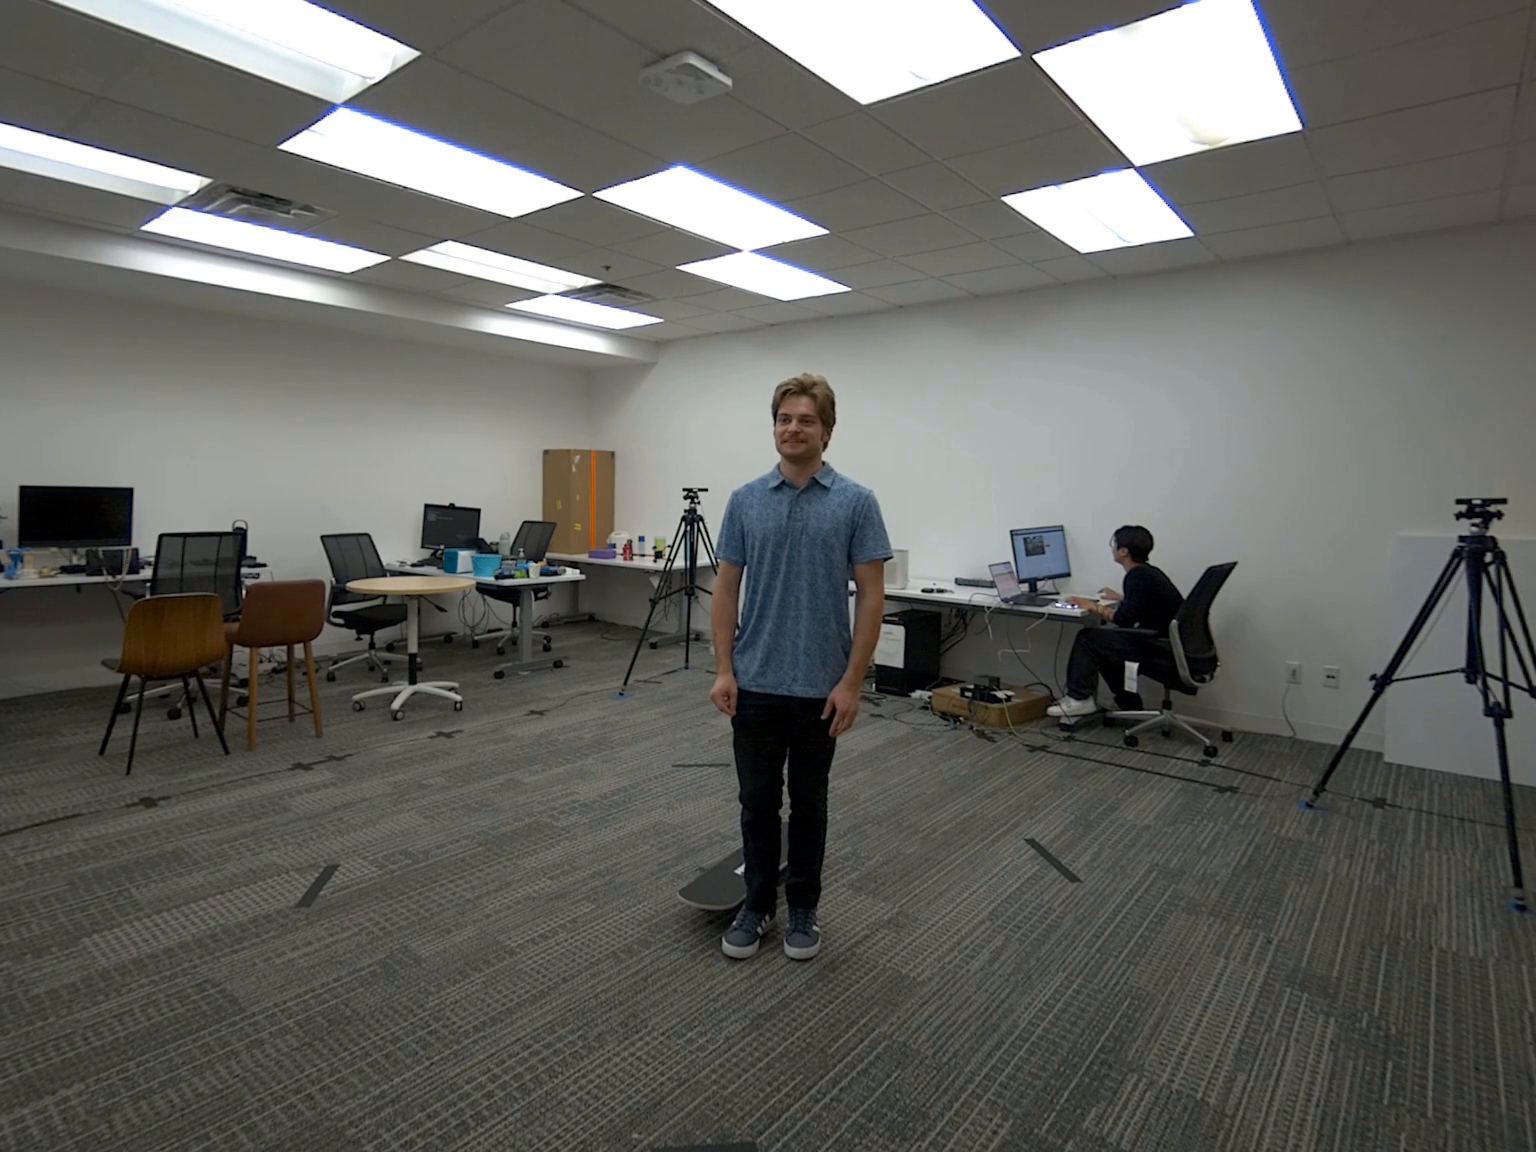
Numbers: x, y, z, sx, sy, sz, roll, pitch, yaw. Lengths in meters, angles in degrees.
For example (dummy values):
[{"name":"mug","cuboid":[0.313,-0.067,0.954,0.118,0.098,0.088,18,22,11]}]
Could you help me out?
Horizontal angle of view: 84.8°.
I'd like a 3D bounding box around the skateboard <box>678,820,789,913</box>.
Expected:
[{"name":"skateboard","cuboid":[-0.061,1.028,2.965,0.199,0.110,0.766,5,6,28]}]
